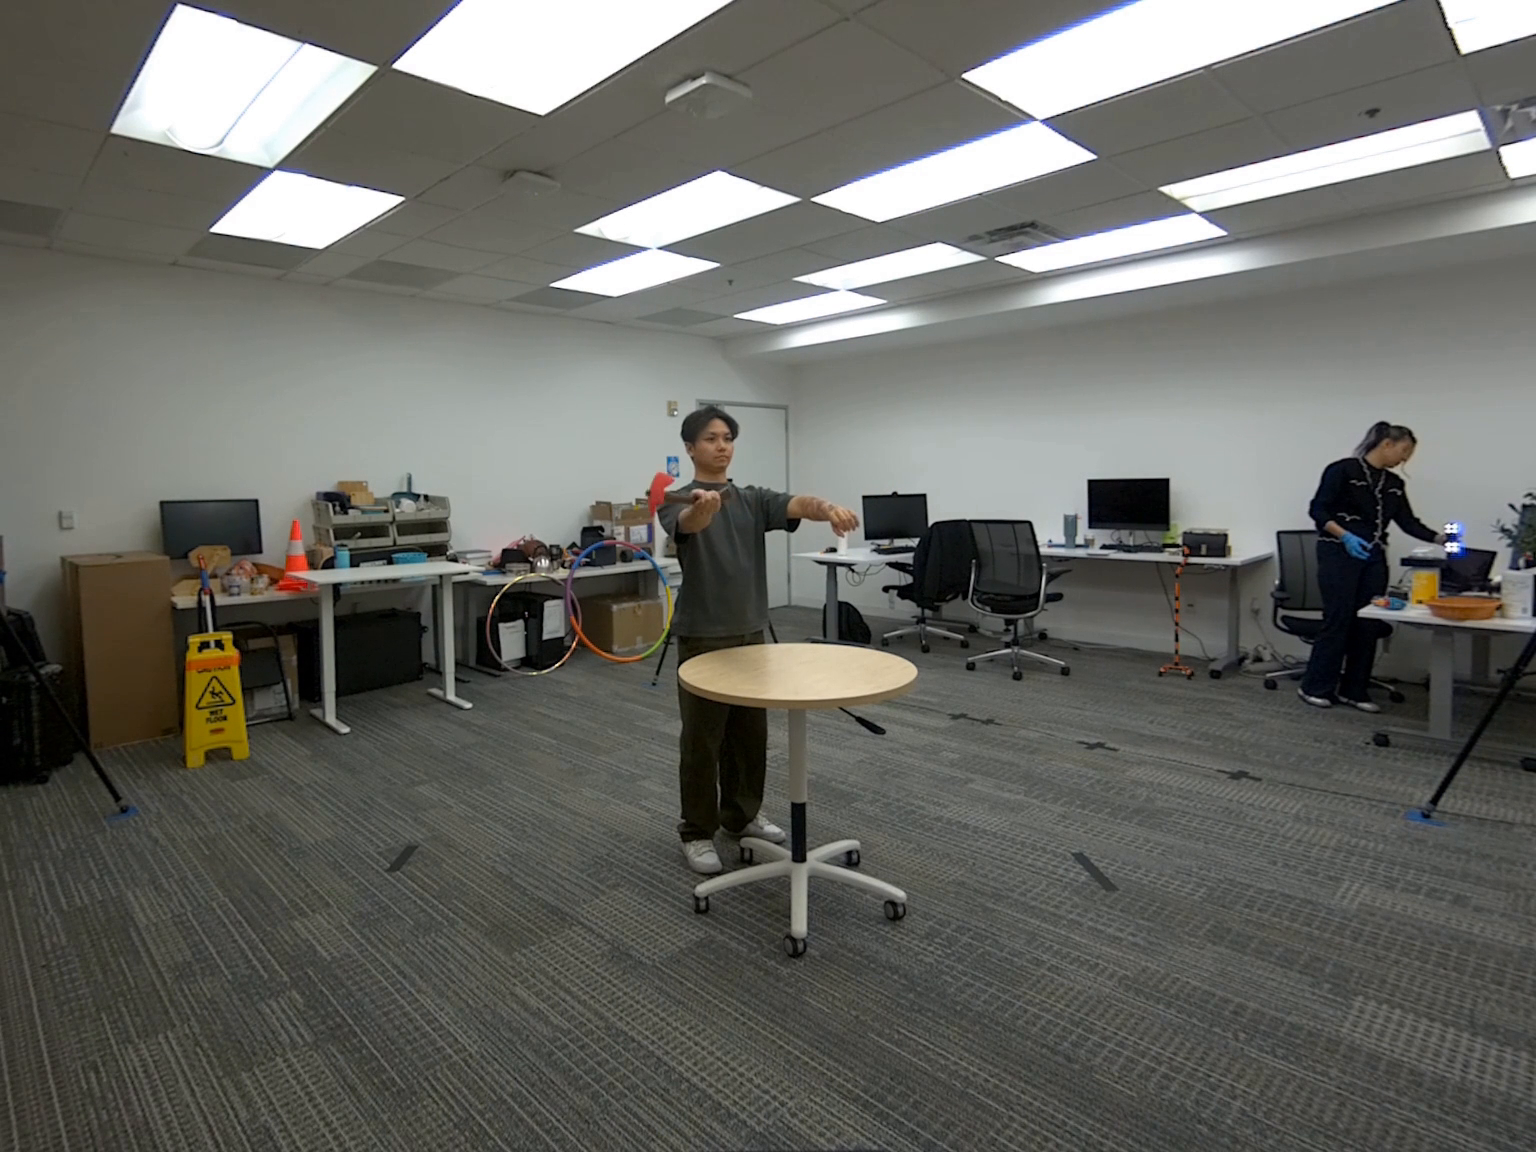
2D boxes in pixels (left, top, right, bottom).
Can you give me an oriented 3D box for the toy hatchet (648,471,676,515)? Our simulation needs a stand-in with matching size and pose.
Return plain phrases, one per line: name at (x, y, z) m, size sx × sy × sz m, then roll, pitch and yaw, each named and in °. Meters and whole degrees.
toy hatchet at (-0.228, -0.268, 2.565) m, size 0.266 × 0.129 × 0.030 m, roll -14°, pitch 11°, yaw -22°
